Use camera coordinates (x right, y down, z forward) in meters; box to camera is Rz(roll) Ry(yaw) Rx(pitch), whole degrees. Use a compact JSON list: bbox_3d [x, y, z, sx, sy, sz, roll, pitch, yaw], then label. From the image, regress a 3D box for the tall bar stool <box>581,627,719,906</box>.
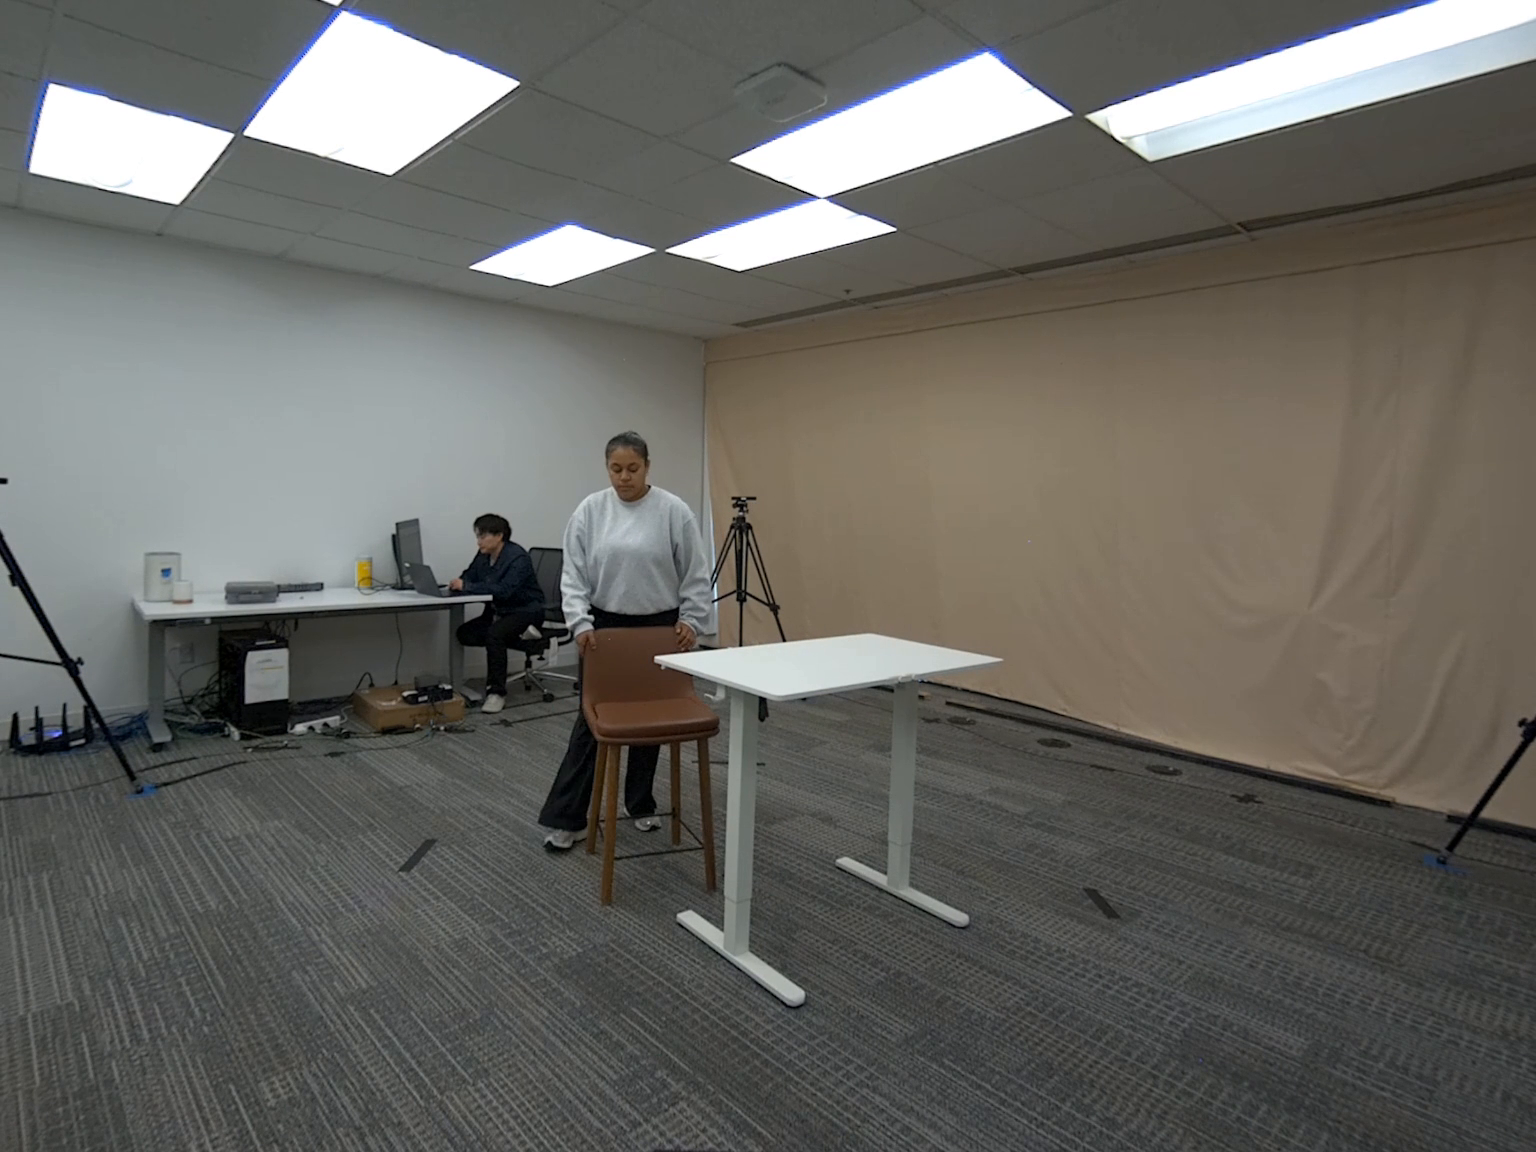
[{"bbox_3d":[-0.447,0.664,3.108,0.449,0.888,0.475,0,2,-21],"label":"tall bar stool"}]
